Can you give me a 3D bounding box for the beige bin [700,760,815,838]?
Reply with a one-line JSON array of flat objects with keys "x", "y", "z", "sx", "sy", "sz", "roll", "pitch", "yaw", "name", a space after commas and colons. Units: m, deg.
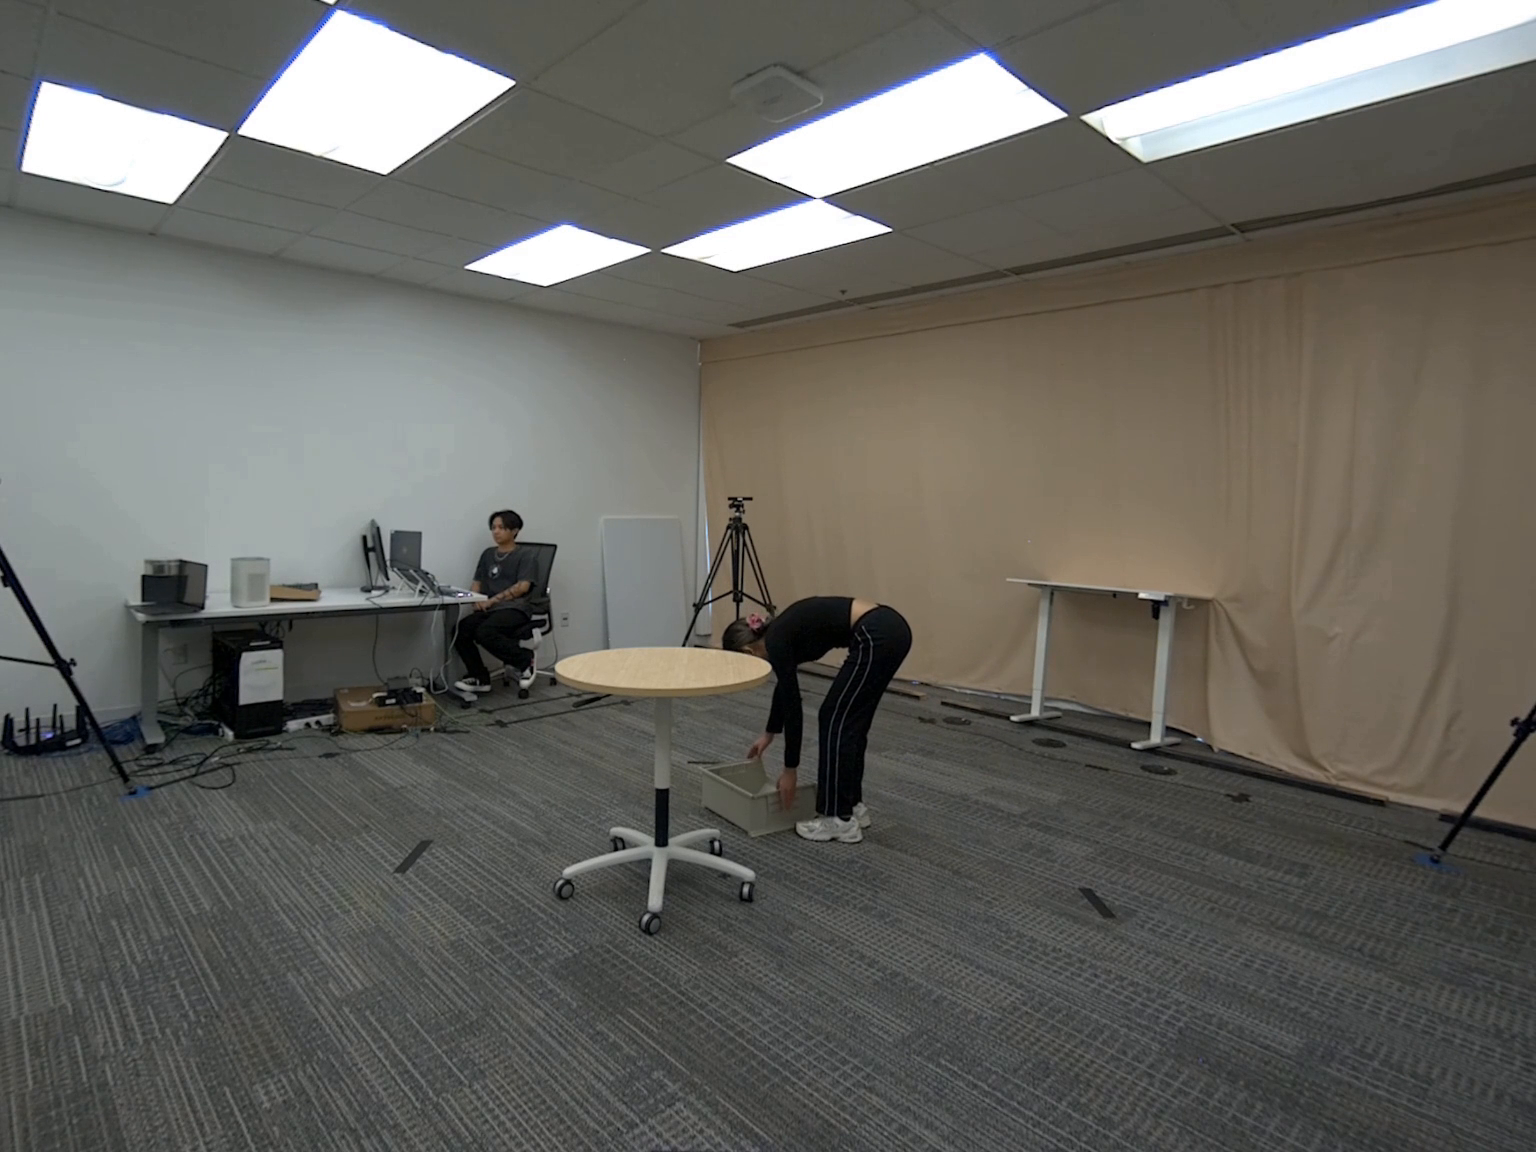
[{"x": -0.047, "y": 0.962, "z": 3.734, "sx": 0.369, "sy": 0.188, "sz": 0.433, "roll": -2, "pitch": 7, "yaw": -35, "name": "beige bin"}]
